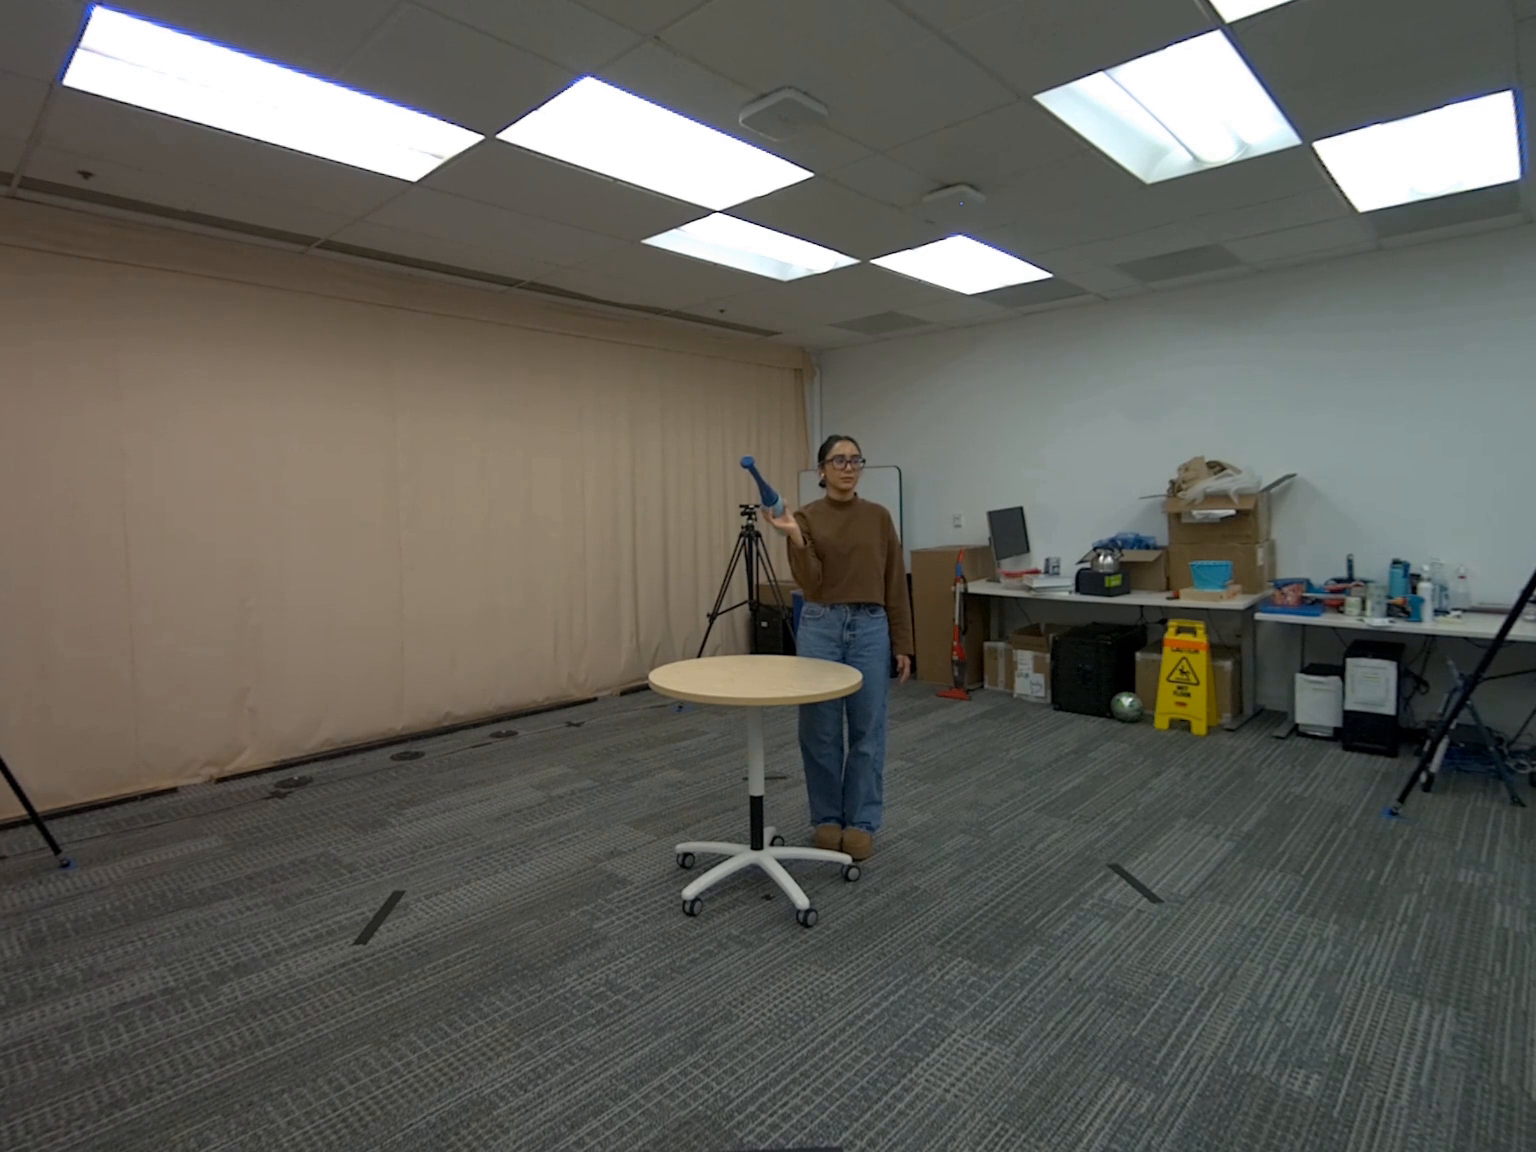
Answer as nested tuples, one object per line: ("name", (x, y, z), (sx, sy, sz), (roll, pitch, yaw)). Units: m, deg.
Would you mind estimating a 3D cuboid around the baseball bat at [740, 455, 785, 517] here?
("baseball bat", (0.001, -0.295, 3.123), (0.090, 0.090, 0.528), (1, -23, 16))
